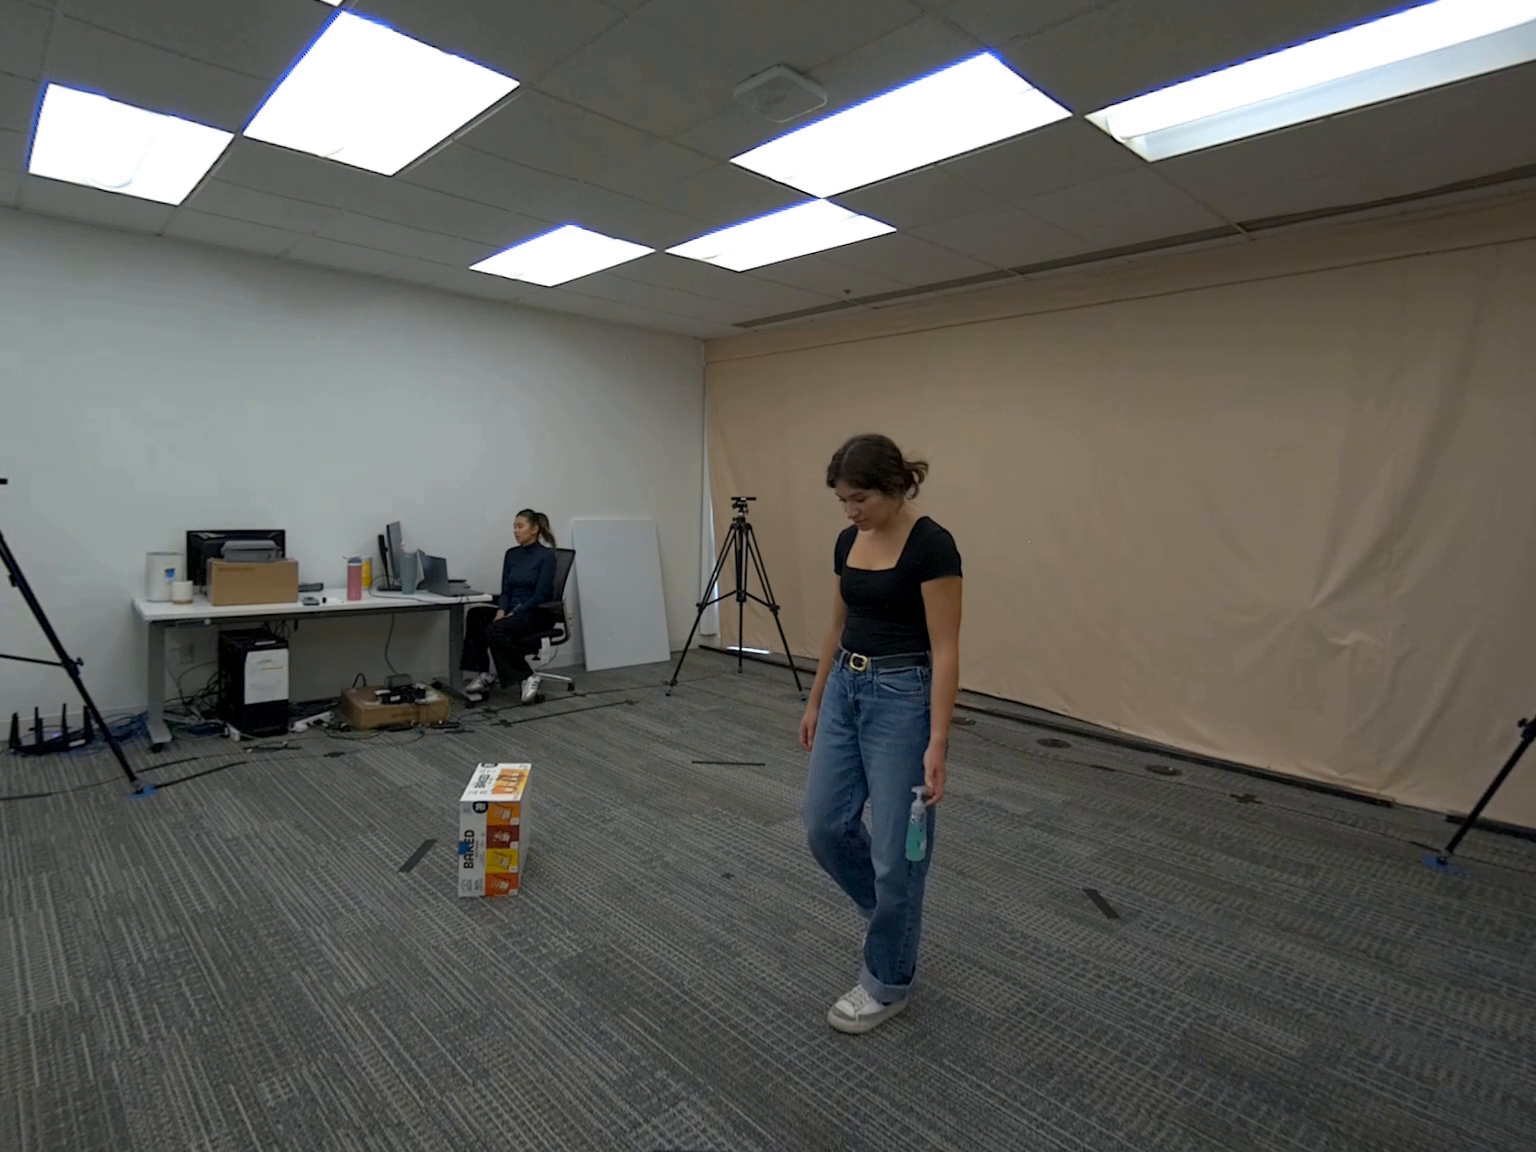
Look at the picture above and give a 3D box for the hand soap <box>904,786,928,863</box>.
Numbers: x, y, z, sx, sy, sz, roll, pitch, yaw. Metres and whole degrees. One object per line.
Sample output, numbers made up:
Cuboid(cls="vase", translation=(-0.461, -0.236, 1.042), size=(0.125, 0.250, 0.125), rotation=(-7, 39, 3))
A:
Cuboid(cls="hand soap", translation=(0.363, 0.594, 2.006), size=(0.044, 0.167, 0.084), rotation=(4, 6, 16))
